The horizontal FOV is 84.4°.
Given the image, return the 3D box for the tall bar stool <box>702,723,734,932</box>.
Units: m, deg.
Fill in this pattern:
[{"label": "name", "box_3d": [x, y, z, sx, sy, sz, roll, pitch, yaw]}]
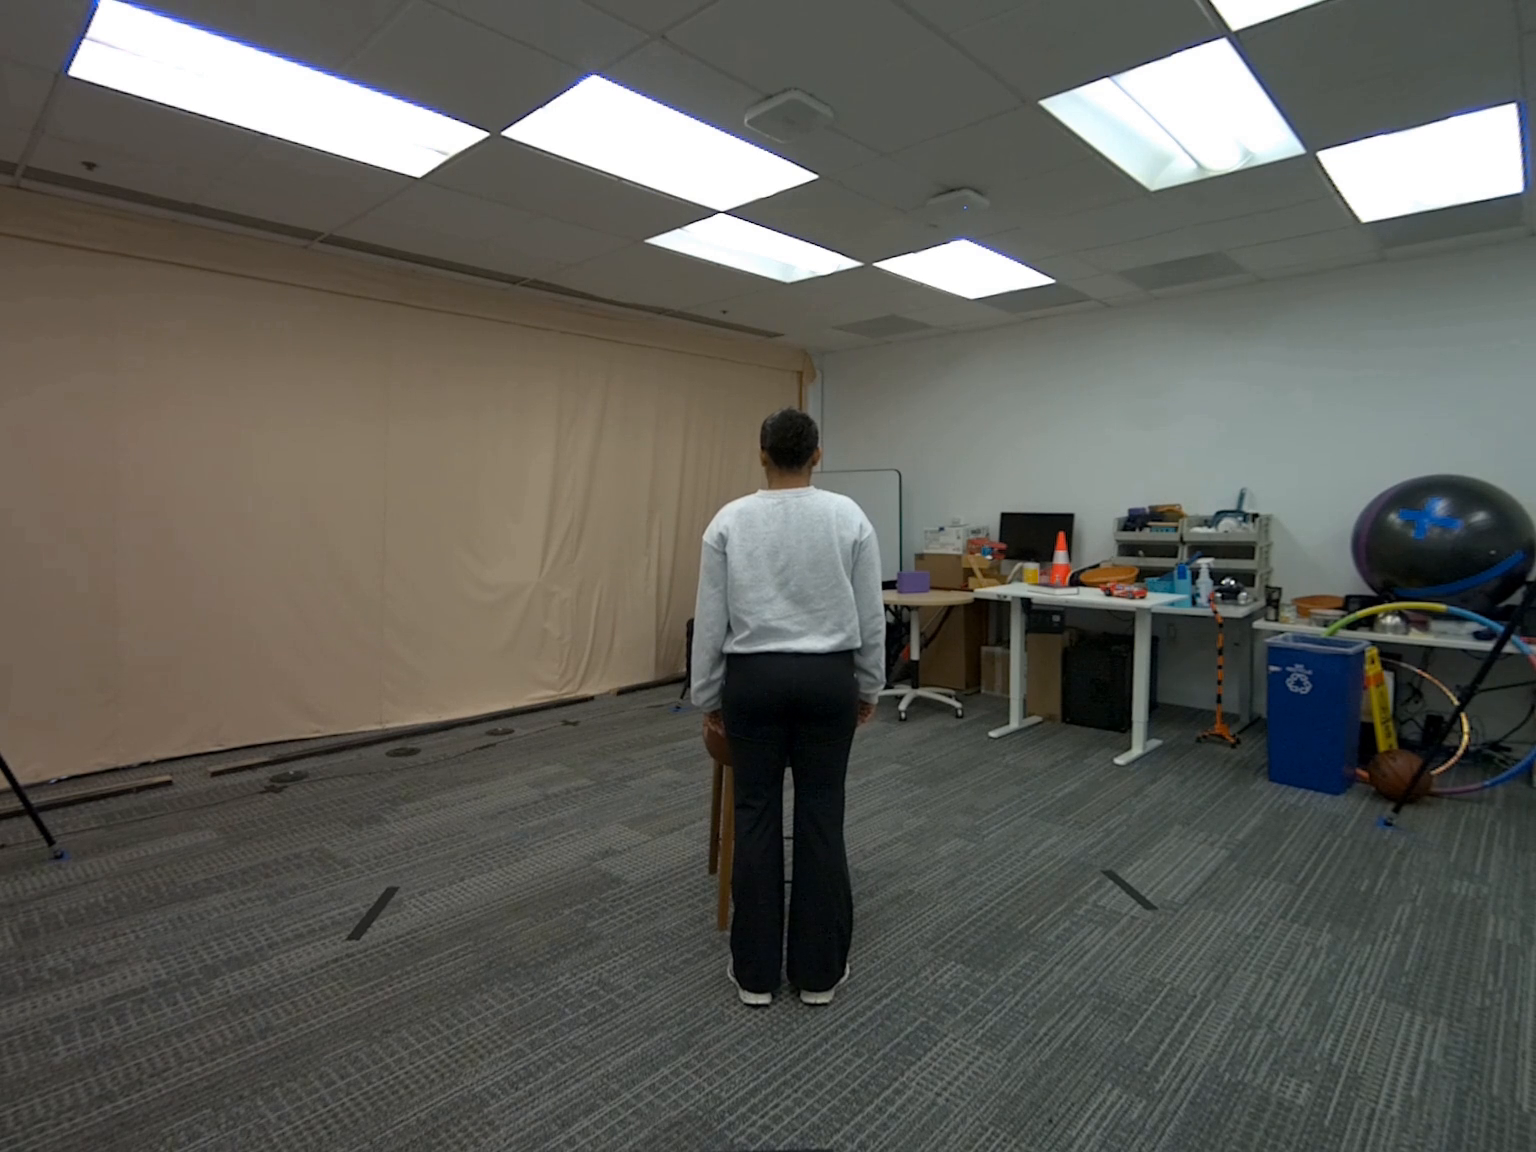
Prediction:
[{"label": "tall bar stool", "box_3d": [-0.004, 0.711, 2.950, 0.456, 0.887, 0.470, 0, 5, -3]}]
